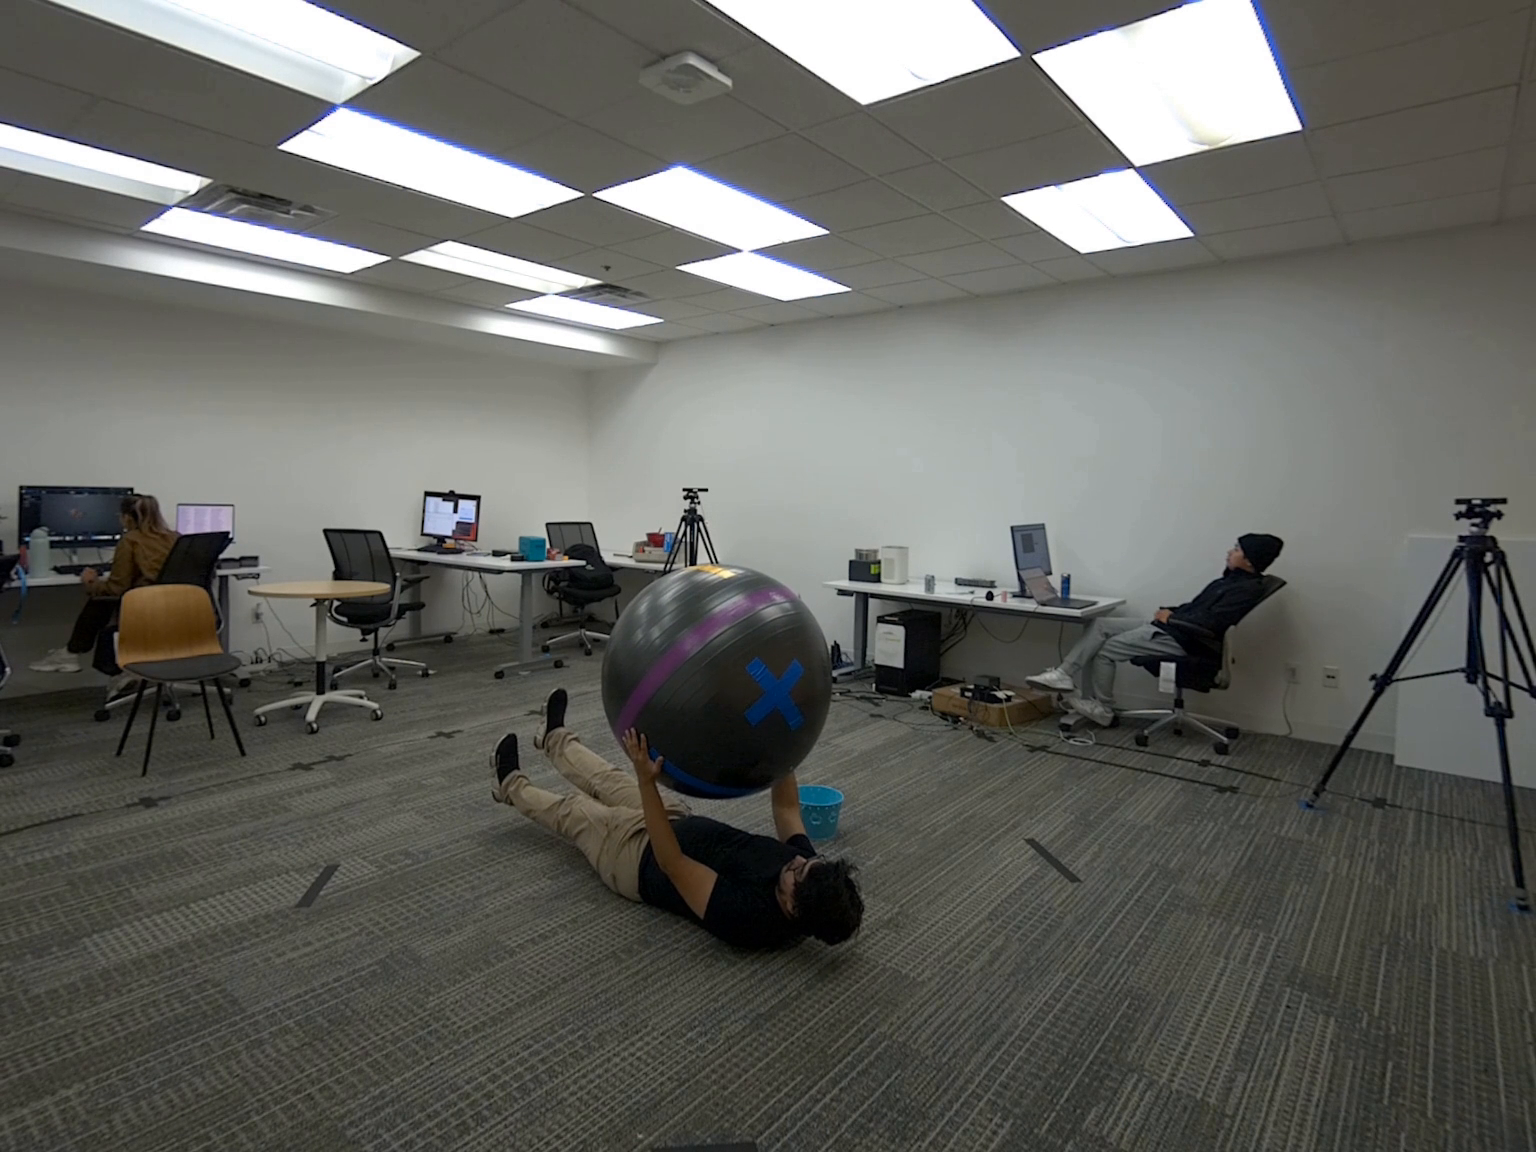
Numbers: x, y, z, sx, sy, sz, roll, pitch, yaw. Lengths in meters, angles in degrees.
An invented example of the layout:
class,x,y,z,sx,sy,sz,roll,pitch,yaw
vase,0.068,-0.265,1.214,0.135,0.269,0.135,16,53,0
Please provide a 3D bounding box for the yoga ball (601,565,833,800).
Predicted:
class,x,y,z,sx,sy,sz,roll,pitch,yaw
yoga ball,-0.179,0.345,2.790,0.757,0.756,0.761,0,4,-2
